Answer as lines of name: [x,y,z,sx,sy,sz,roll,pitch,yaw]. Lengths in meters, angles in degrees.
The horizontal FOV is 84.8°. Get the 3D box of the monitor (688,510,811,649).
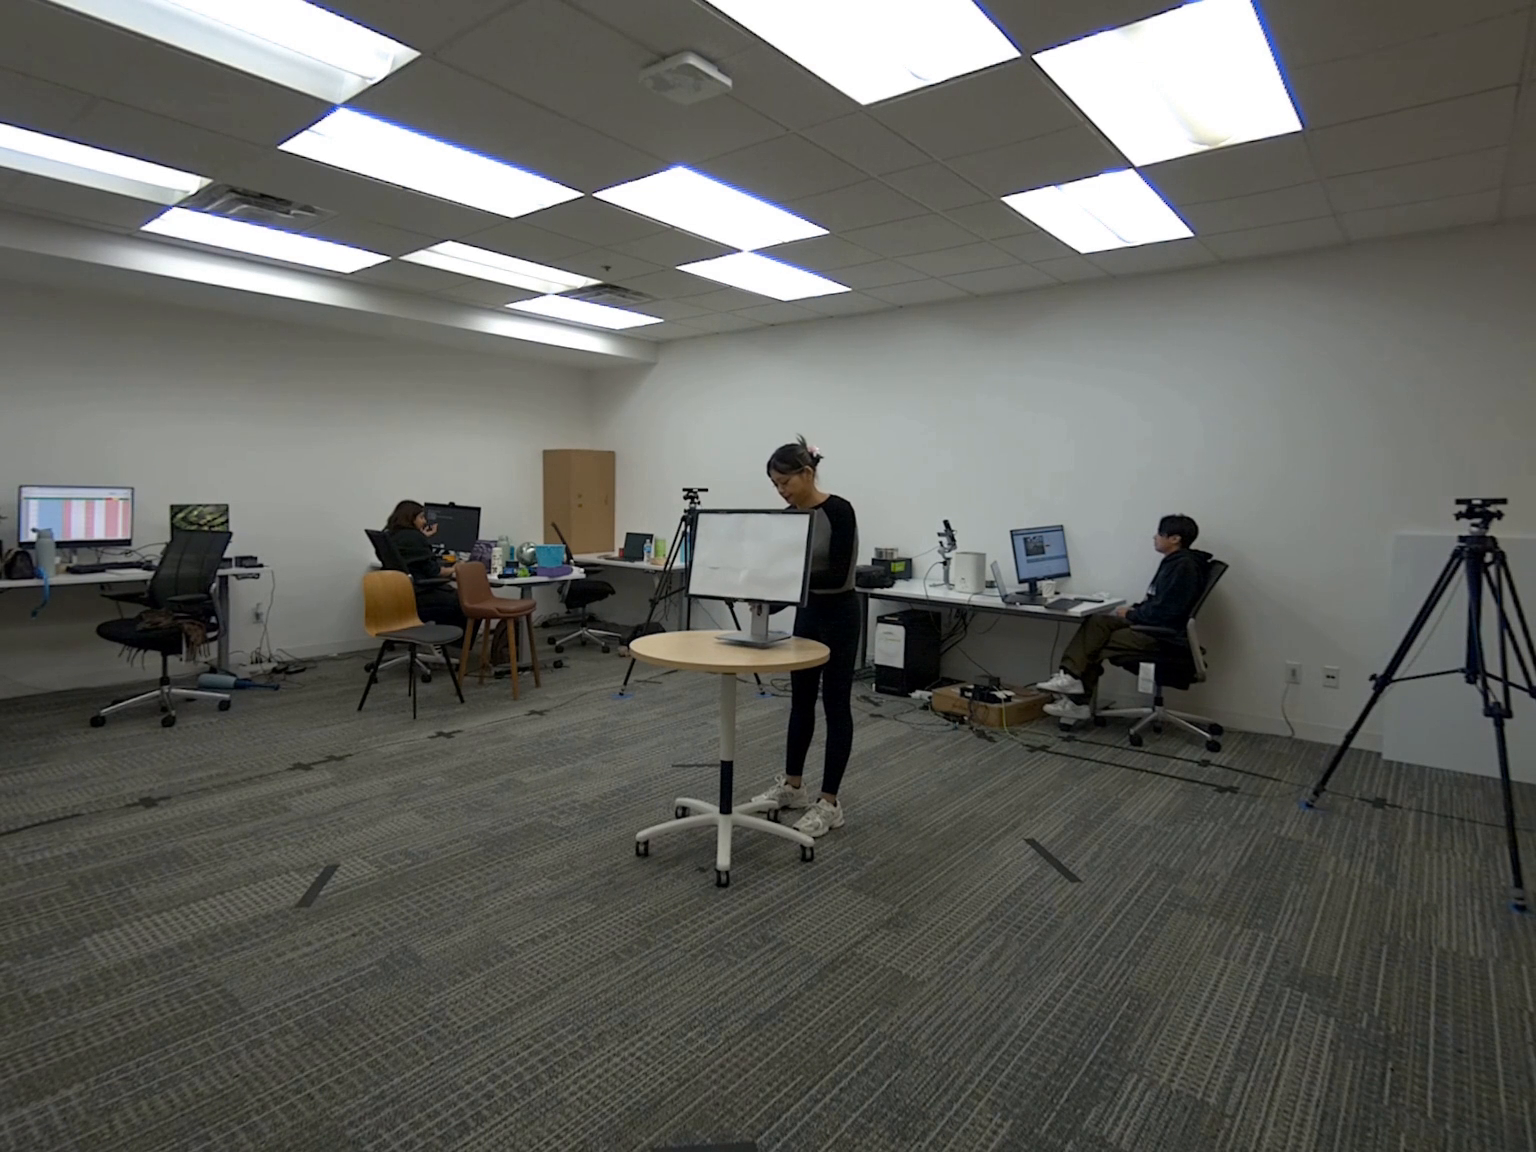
monitor: [-0.072,-0.003,3.320,0.547,0.512,0.170,4,10,35]
